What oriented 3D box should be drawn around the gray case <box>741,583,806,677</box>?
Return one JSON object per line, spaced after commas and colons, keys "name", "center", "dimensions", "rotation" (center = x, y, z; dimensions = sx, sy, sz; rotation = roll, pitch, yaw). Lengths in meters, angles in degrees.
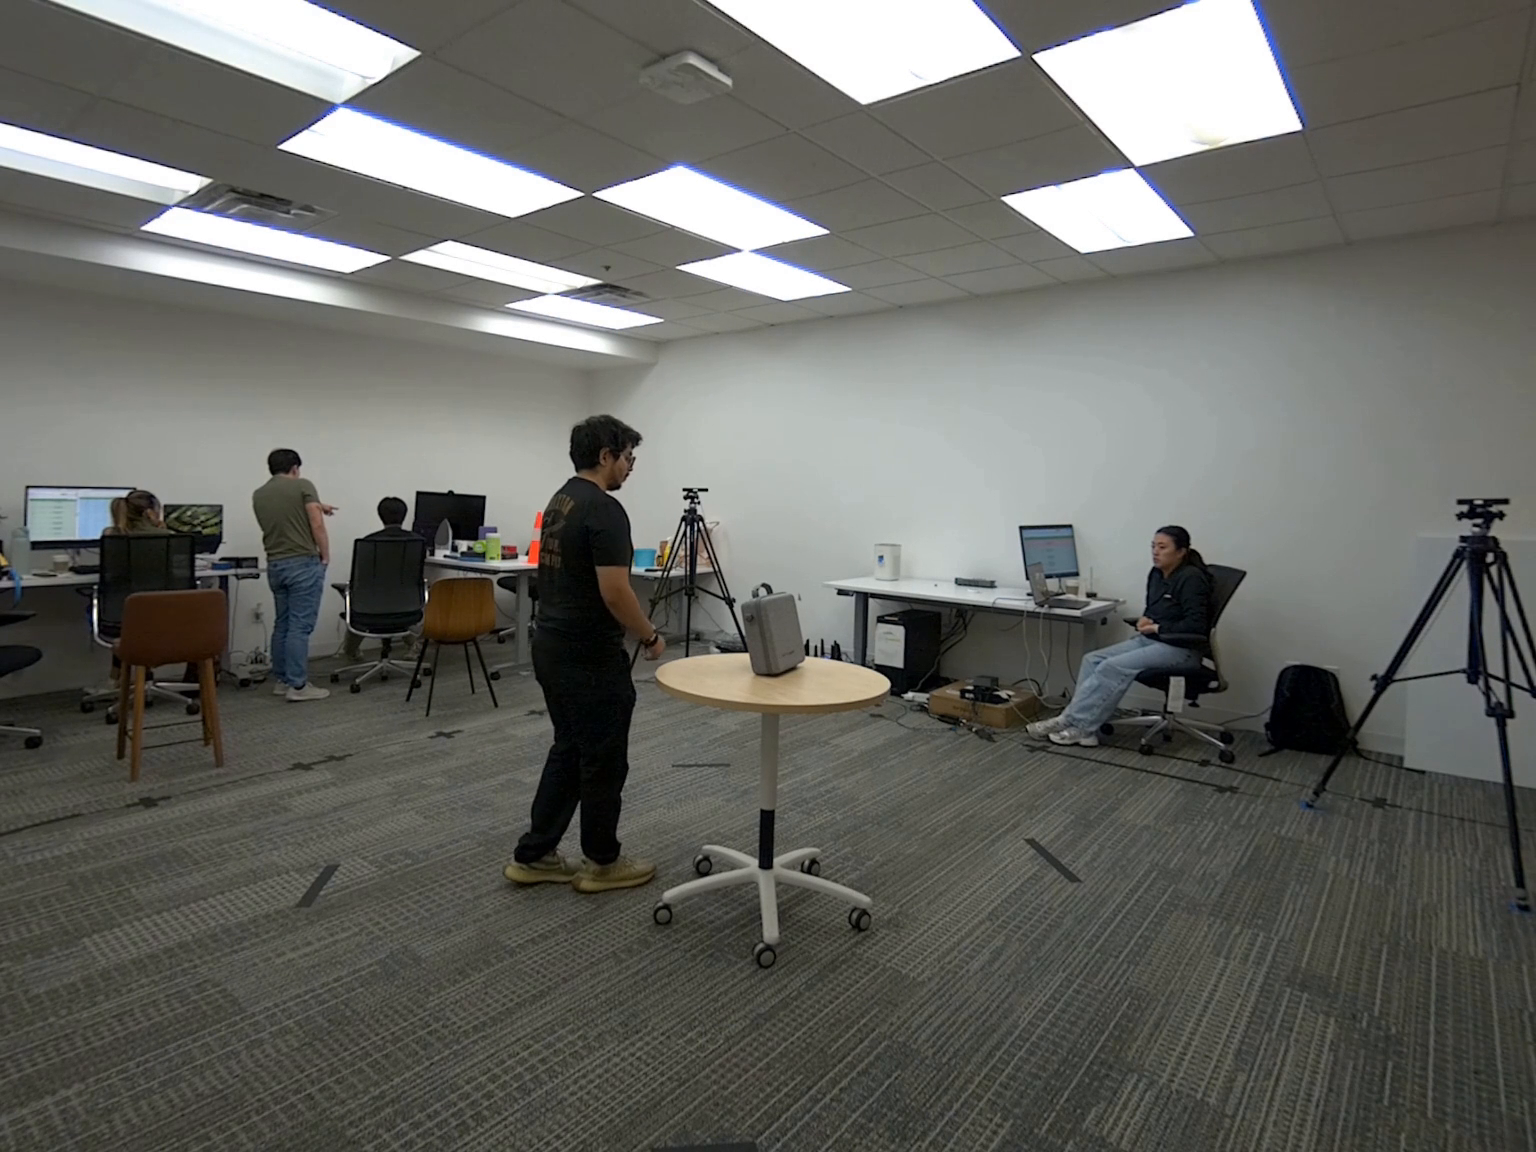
{"name": "gray case", "center": [0.011, 0.188, 2.873], "dimensions": [0.106, 0.262, 0.251], "rotation": [-11, -3, 26]}
